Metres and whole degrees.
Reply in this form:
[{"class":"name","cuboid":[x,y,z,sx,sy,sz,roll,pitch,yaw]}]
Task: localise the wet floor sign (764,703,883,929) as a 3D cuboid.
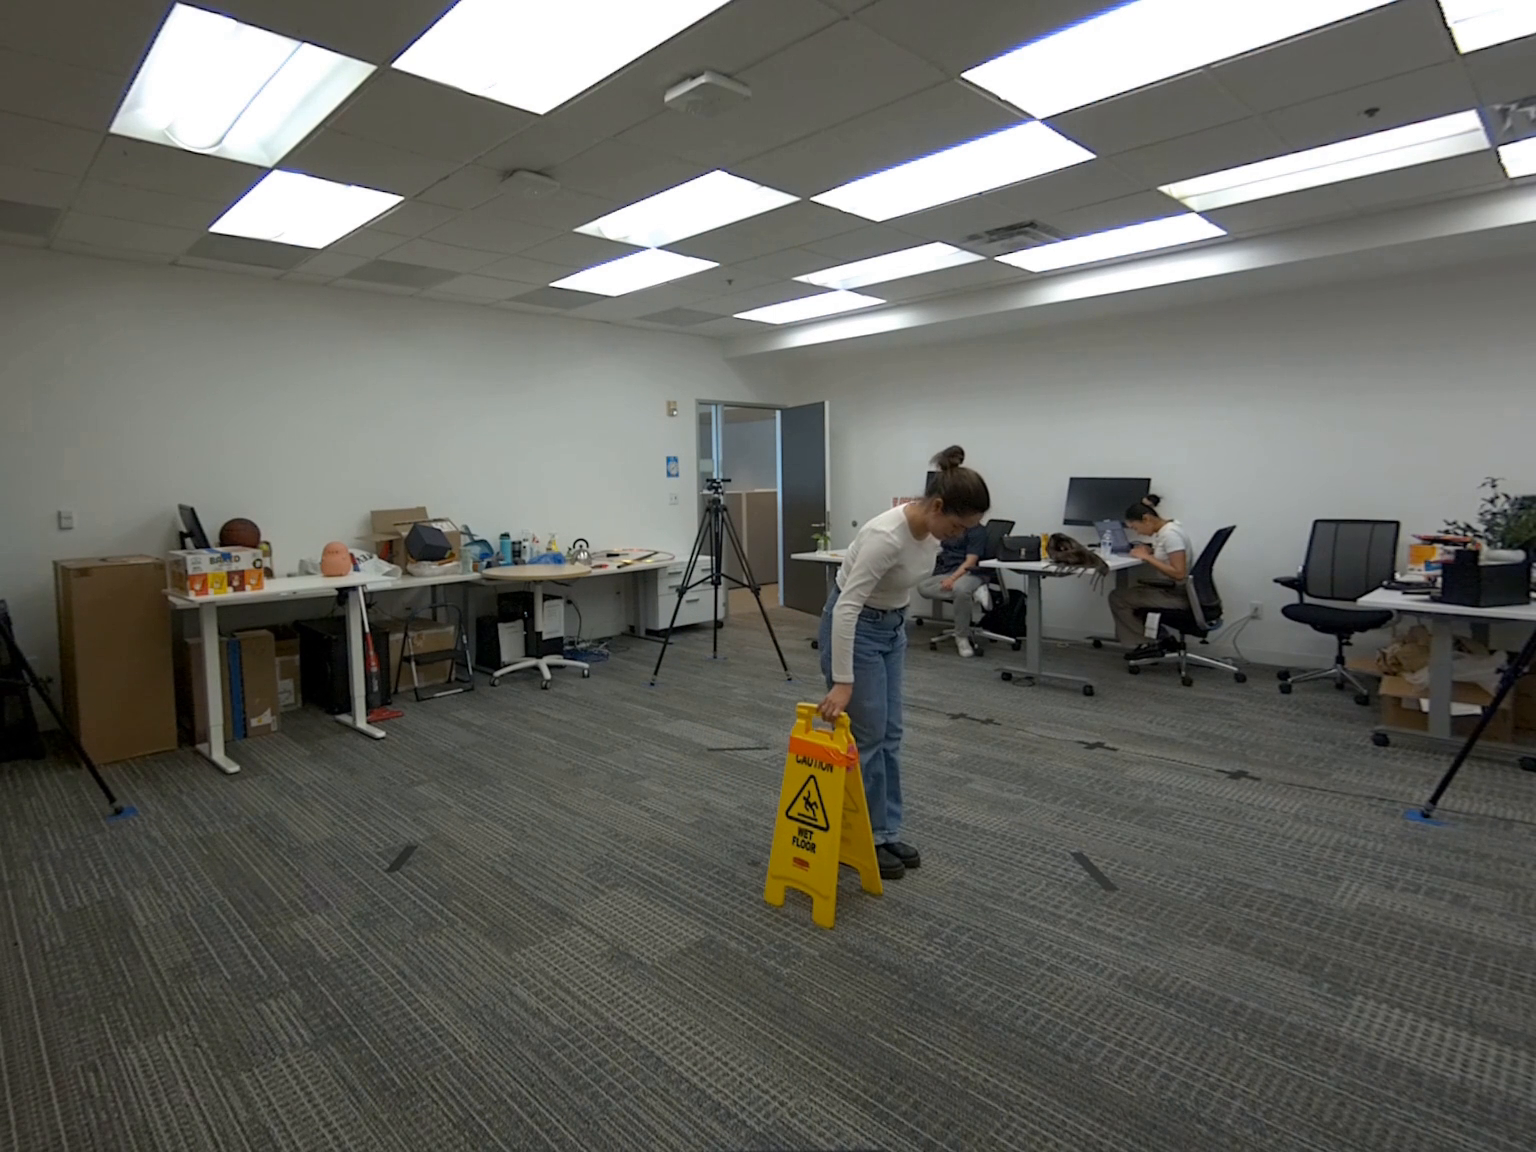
[{"class":"wet floor sign","cuboid":[0.180,0.751,2.819,0.291,0.644,0.282,2,5,42]}]
